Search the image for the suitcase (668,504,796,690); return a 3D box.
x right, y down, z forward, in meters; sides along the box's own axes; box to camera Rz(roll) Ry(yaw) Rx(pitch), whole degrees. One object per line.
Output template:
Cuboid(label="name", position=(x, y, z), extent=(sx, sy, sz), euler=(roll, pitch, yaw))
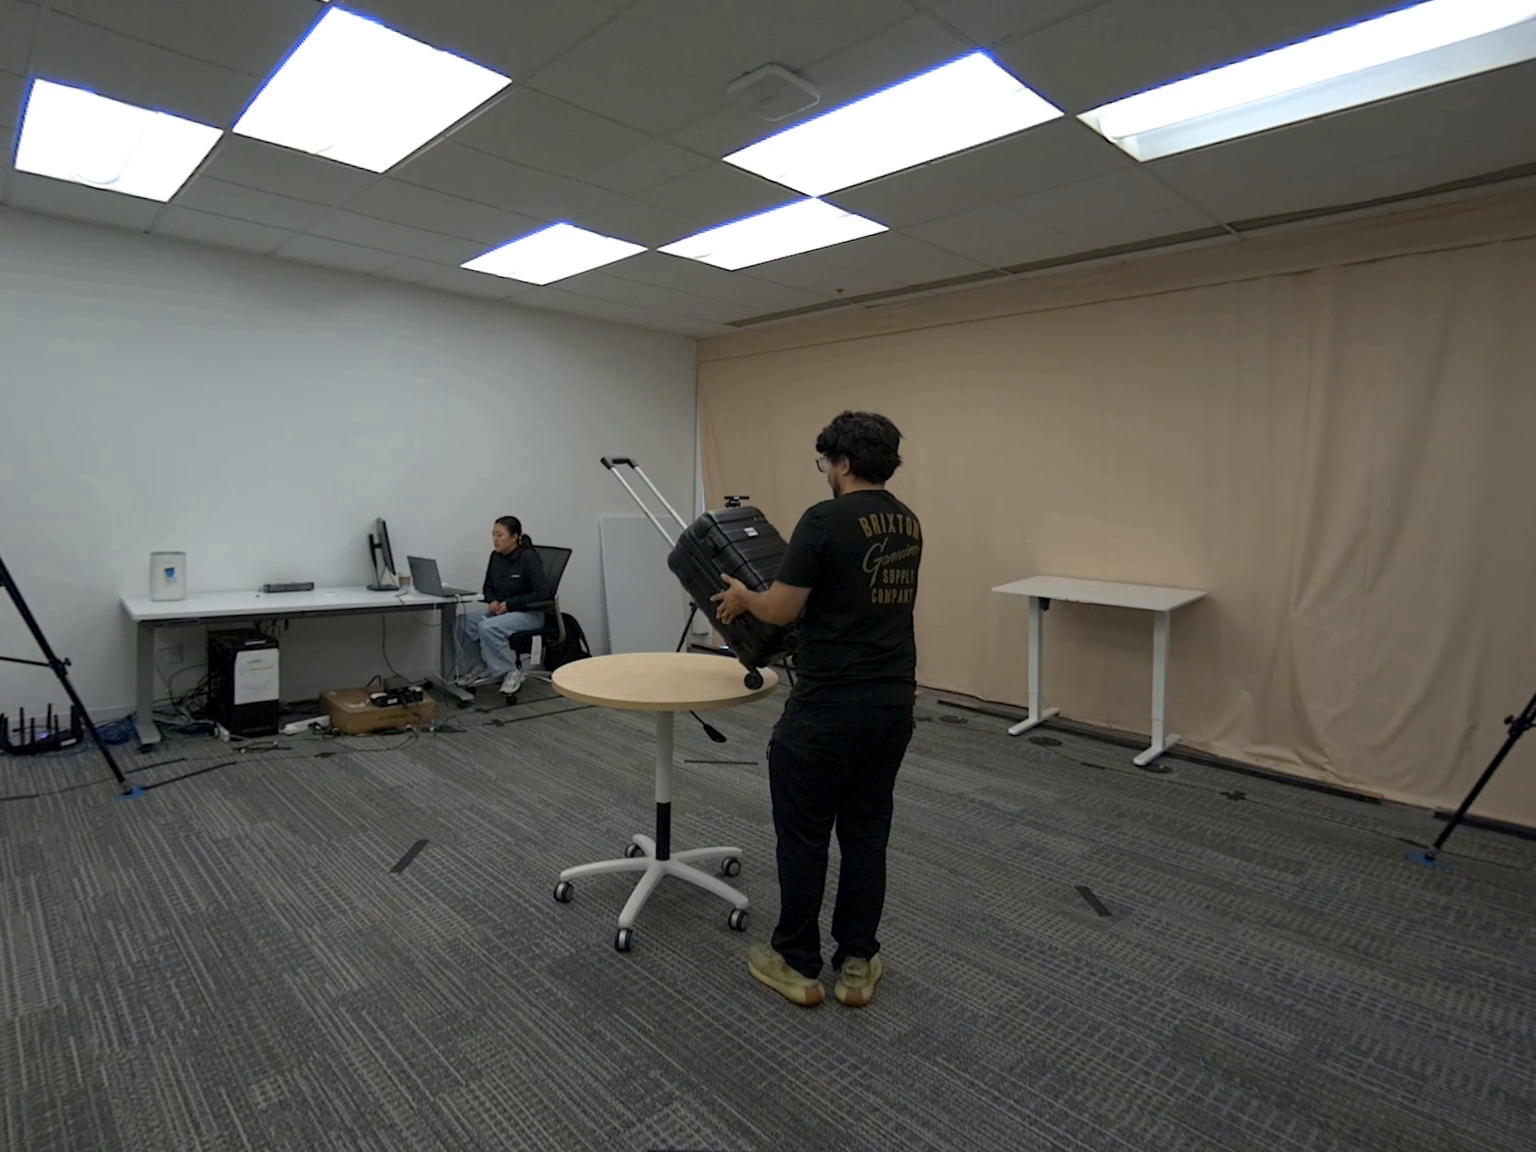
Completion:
Cuboid(label="suitcase", position=(-0.178, -0.122, 2.810), extent=(0.257, 0.996, 0.377), euler=(-47, -18, 29))
